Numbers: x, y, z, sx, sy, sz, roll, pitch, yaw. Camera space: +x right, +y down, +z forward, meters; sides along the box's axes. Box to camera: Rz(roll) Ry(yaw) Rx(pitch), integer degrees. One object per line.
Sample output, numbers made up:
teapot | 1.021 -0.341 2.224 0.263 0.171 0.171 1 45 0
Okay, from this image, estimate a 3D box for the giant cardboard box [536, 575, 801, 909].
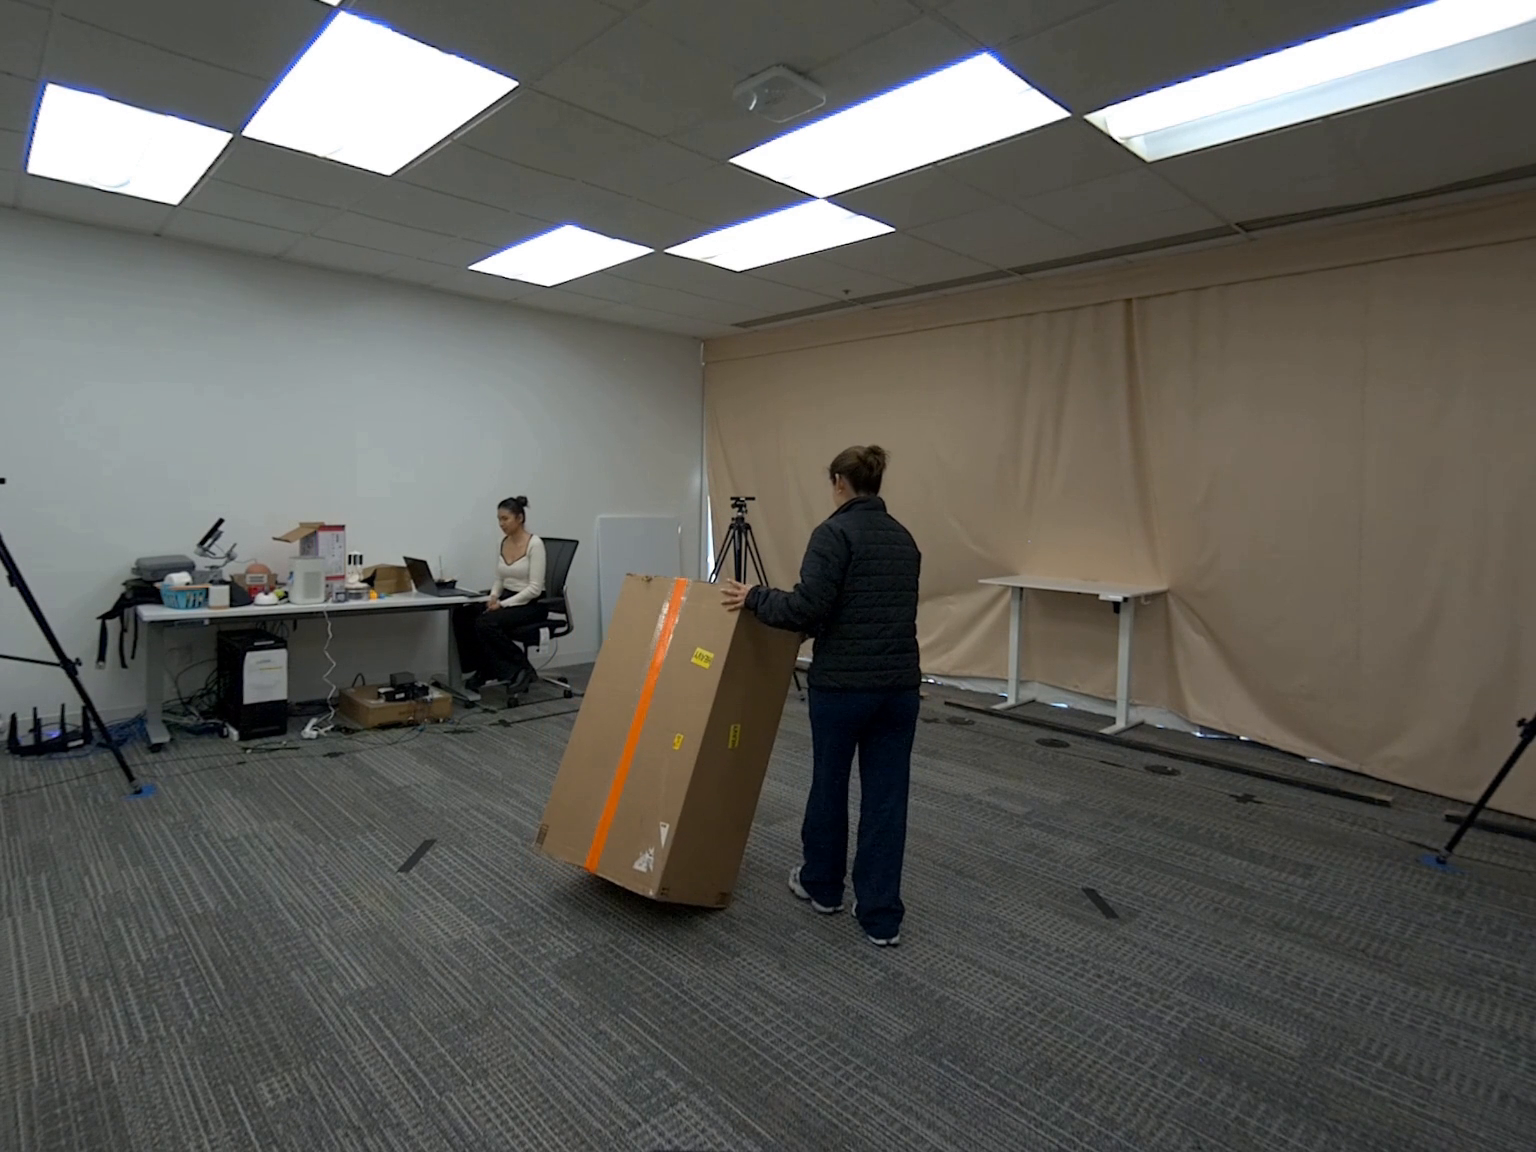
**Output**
giant cardboard box | -0.335 0.564 2.998 0.591 1.033 0.413 5 -19 35
